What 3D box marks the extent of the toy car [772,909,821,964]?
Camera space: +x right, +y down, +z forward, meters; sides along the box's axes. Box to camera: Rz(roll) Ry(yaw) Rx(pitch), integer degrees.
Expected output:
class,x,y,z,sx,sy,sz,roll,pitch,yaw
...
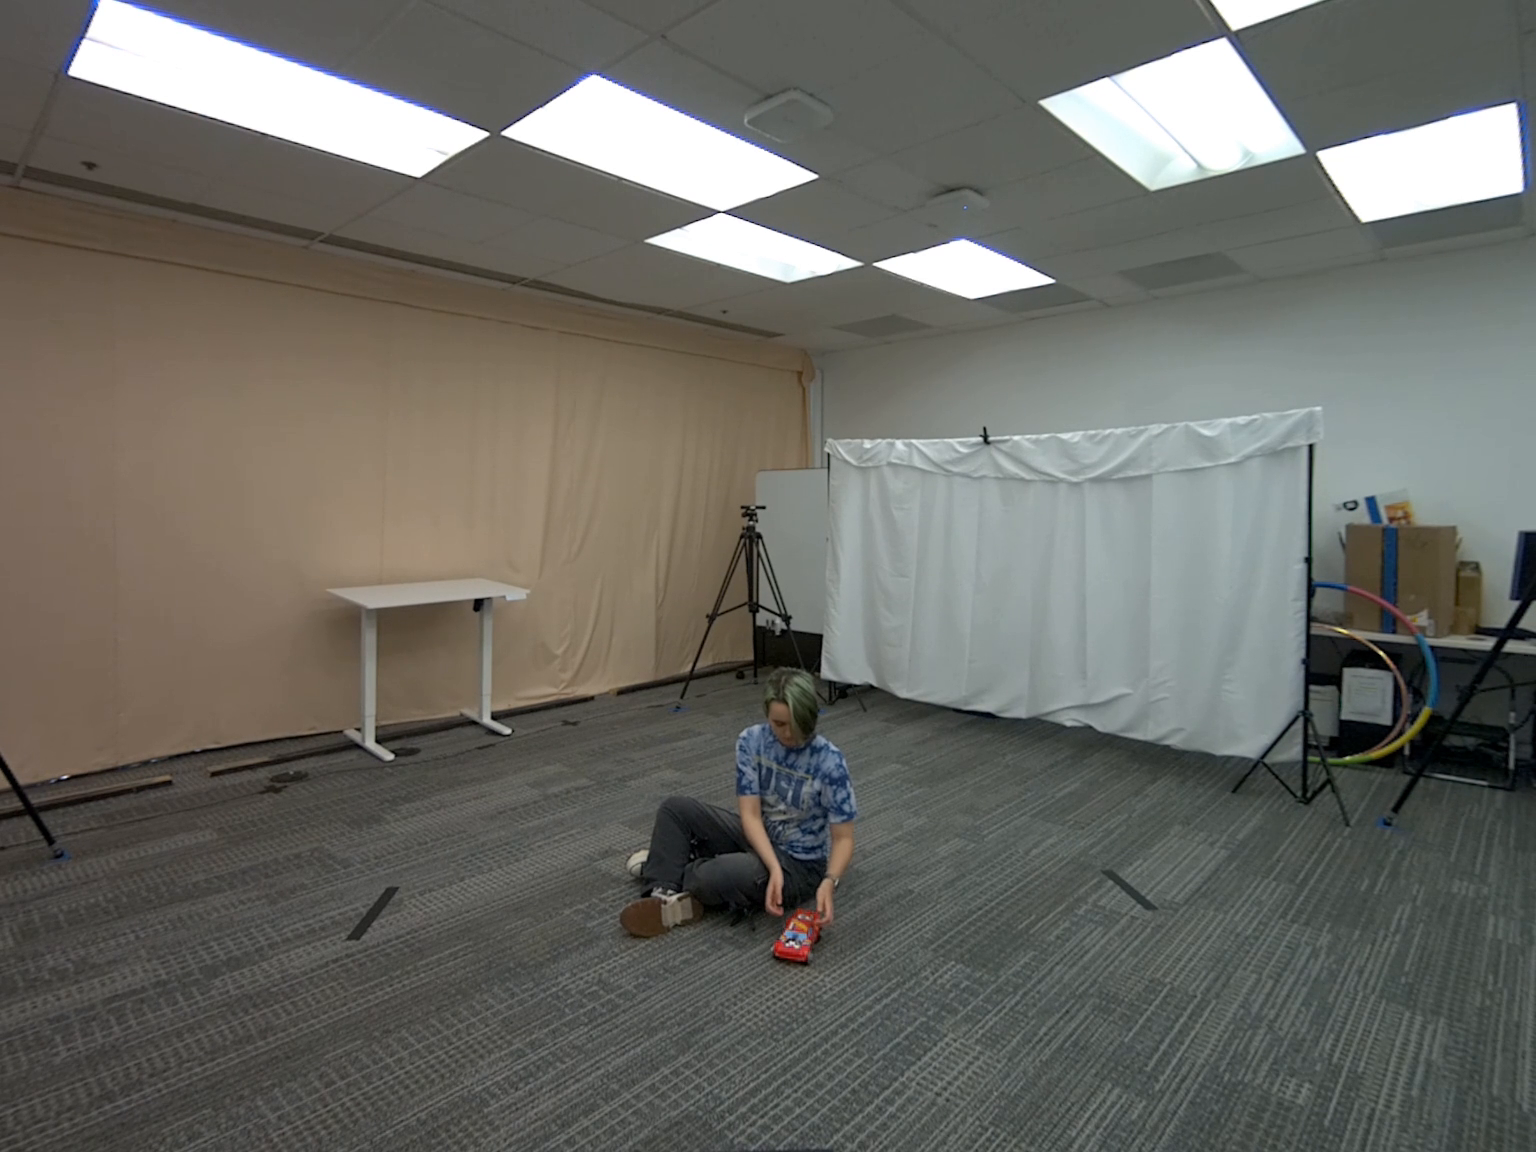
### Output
class,x,y,z,sx,sy,sz,roll,pitch,yaw
toy car,0.102,1.131,2.662,0.133,0.082,0.252,1,16,18
